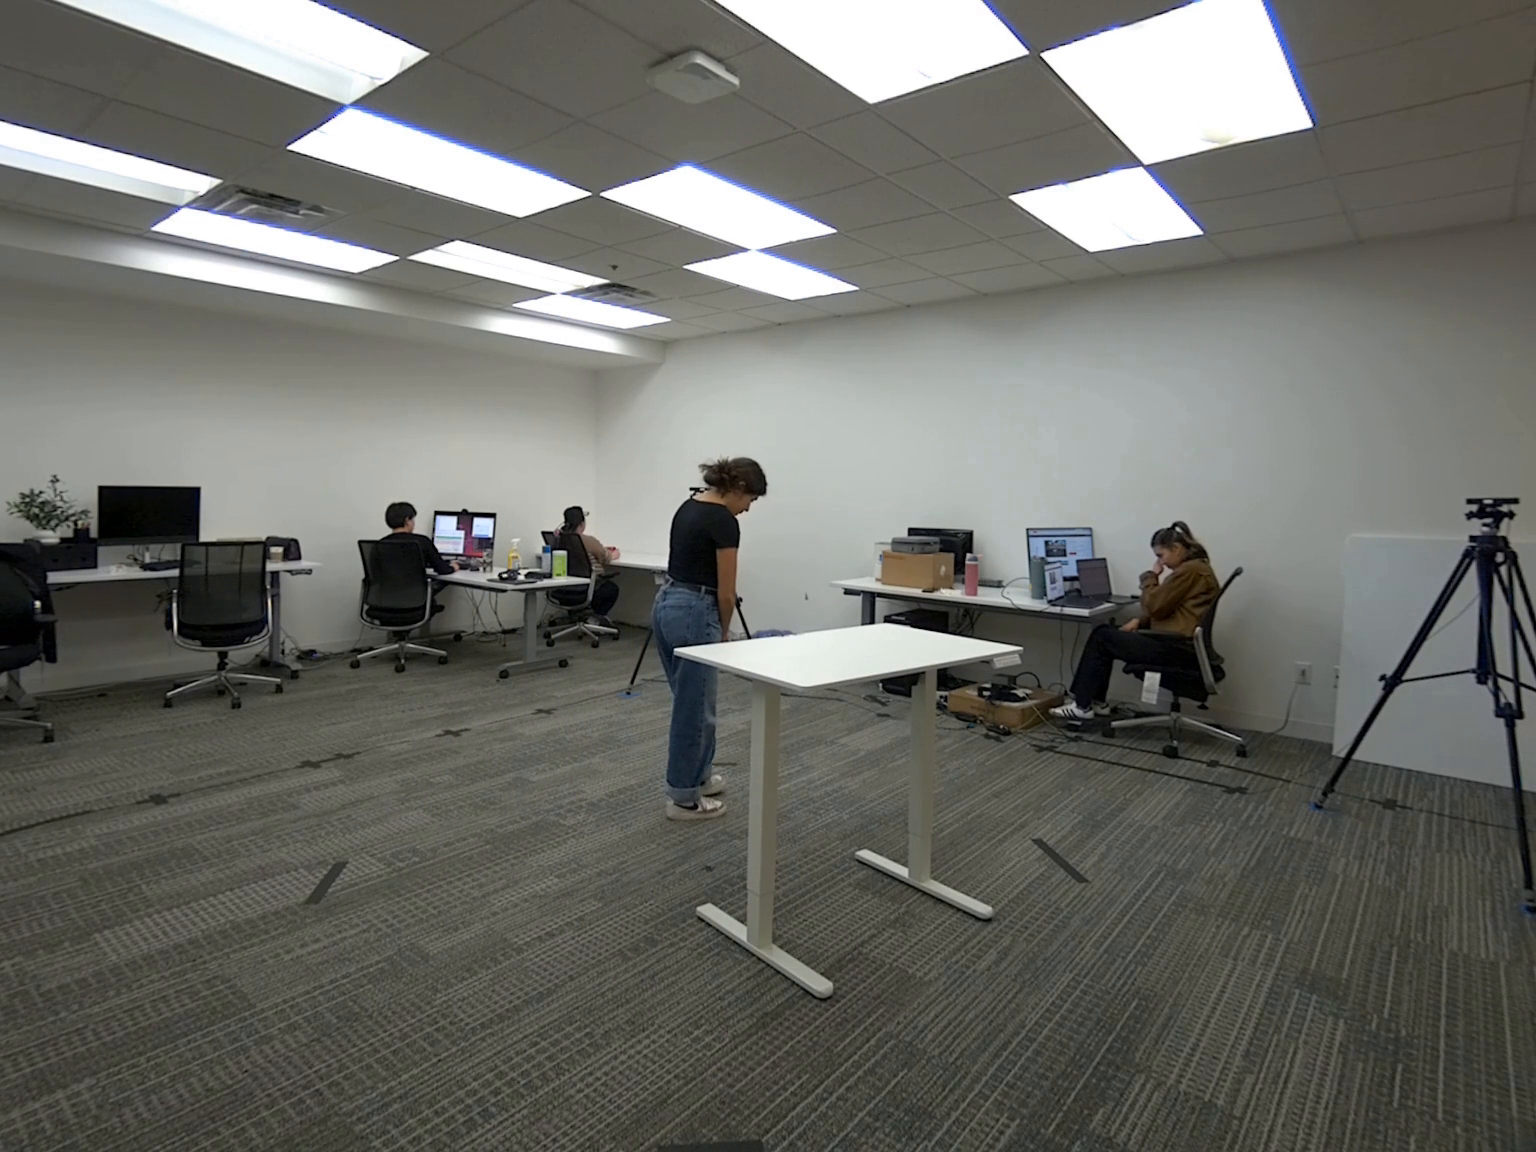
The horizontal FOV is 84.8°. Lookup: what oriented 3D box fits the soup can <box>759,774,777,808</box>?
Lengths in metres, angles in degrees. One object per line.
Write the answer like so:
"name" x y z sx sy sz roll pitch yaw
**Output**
"soup can" -0.002 0.946 3.711 0.067 0.121 0.067 3 3 -2
